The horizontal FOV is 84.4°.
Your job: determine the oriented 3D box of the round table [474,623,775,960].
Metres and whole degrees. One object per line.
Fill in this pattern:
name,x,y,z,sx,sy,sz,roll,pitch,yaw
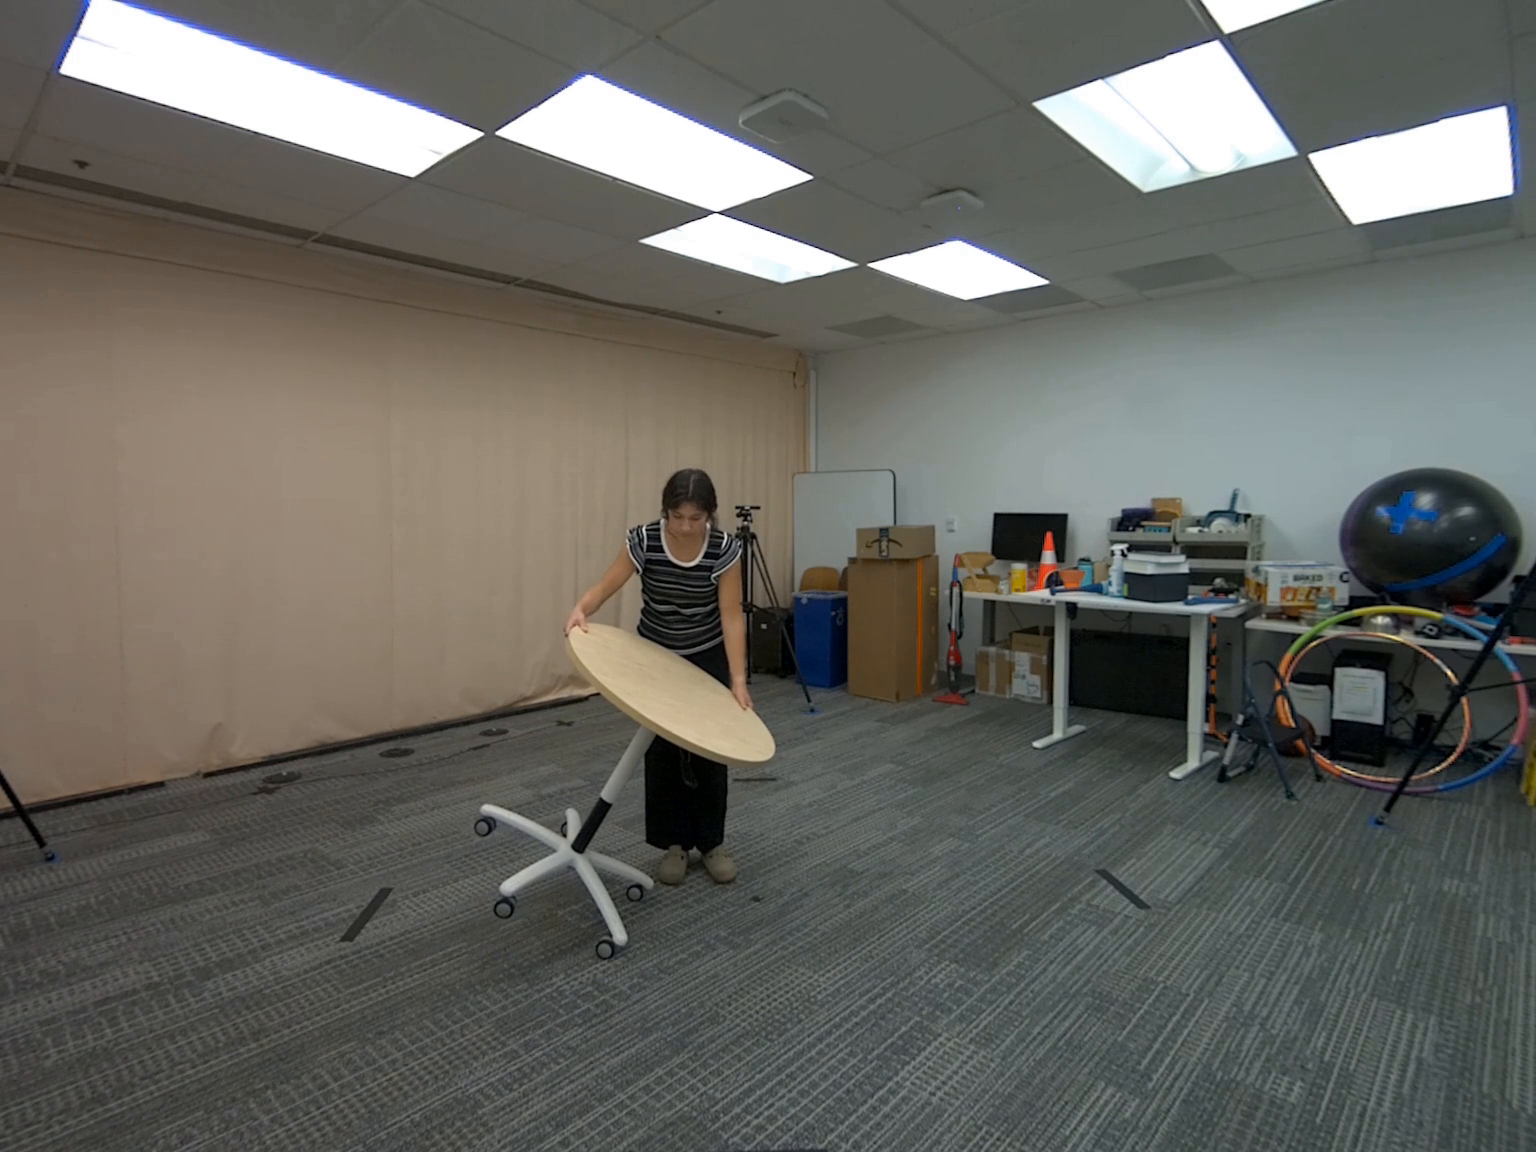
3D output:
round table,-0.514,0.697,2.775,0.760,0.794,0.769,30,6,-6
